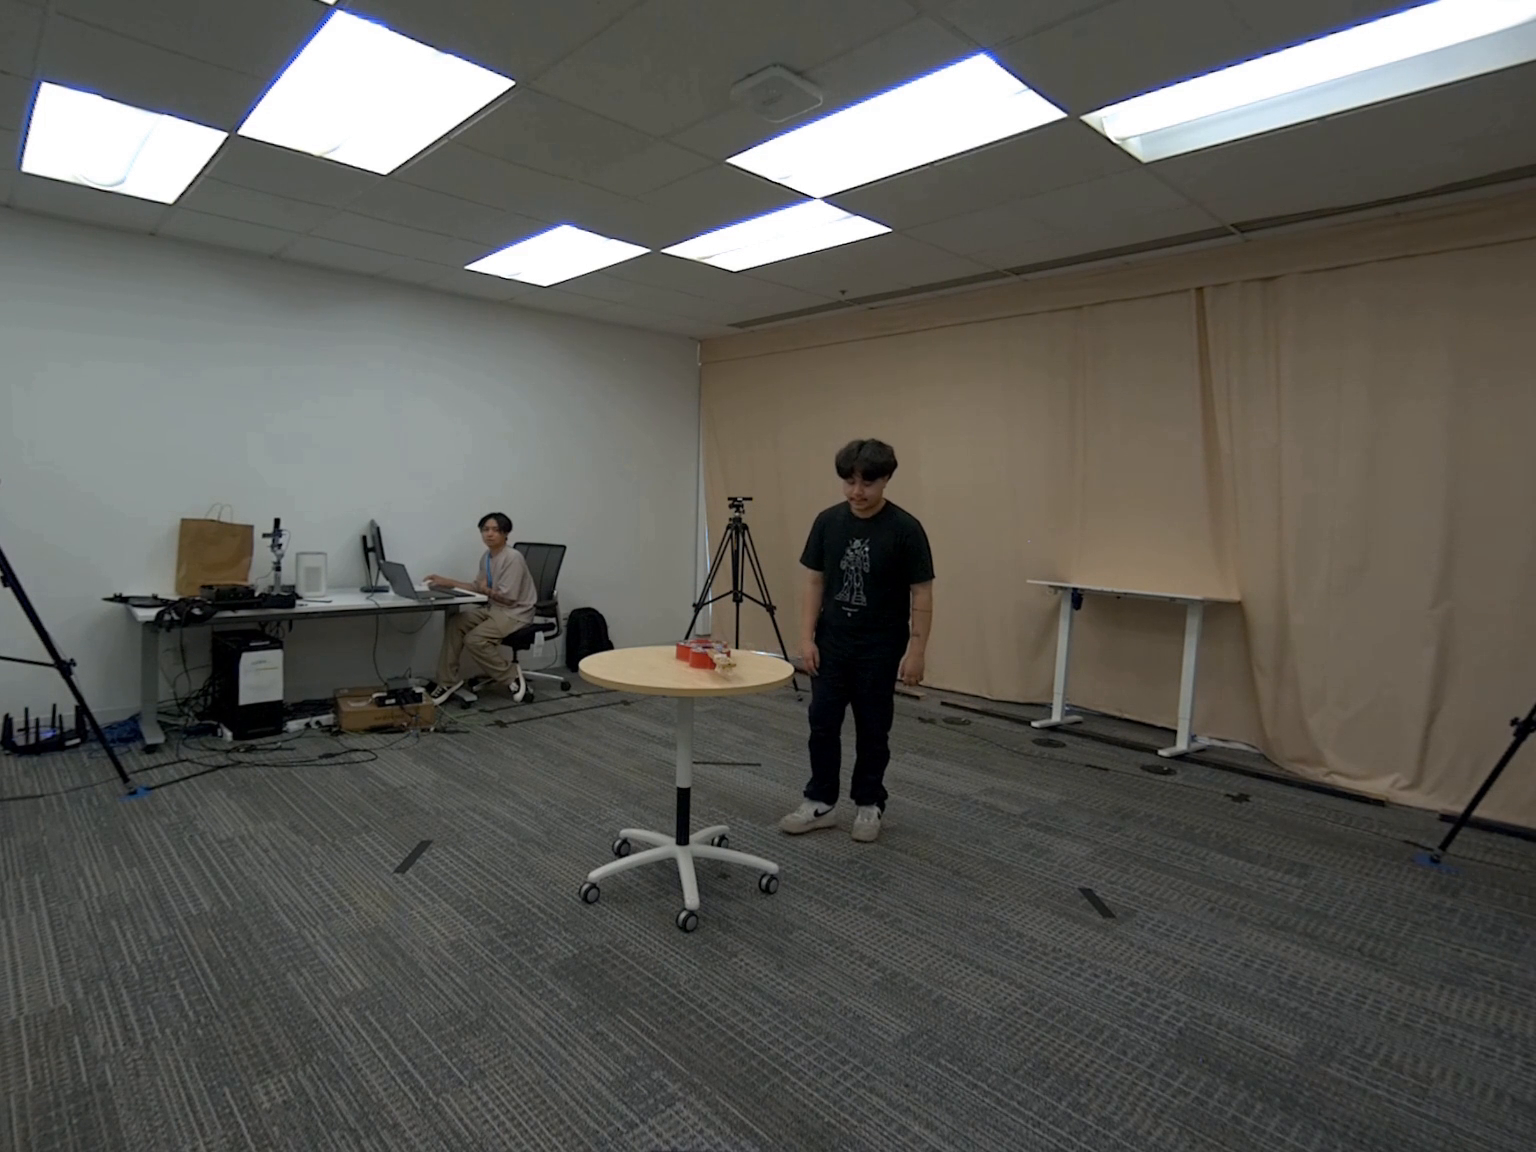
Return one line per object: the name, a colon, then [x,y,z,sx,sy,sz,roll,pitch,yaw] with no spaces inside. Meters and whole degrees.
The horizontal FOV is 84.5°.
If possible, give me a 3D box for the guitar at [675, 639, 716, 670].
guitar: [-0.240,0.282,2.991,0.192,0.070,0.502,-2,6,-8]
